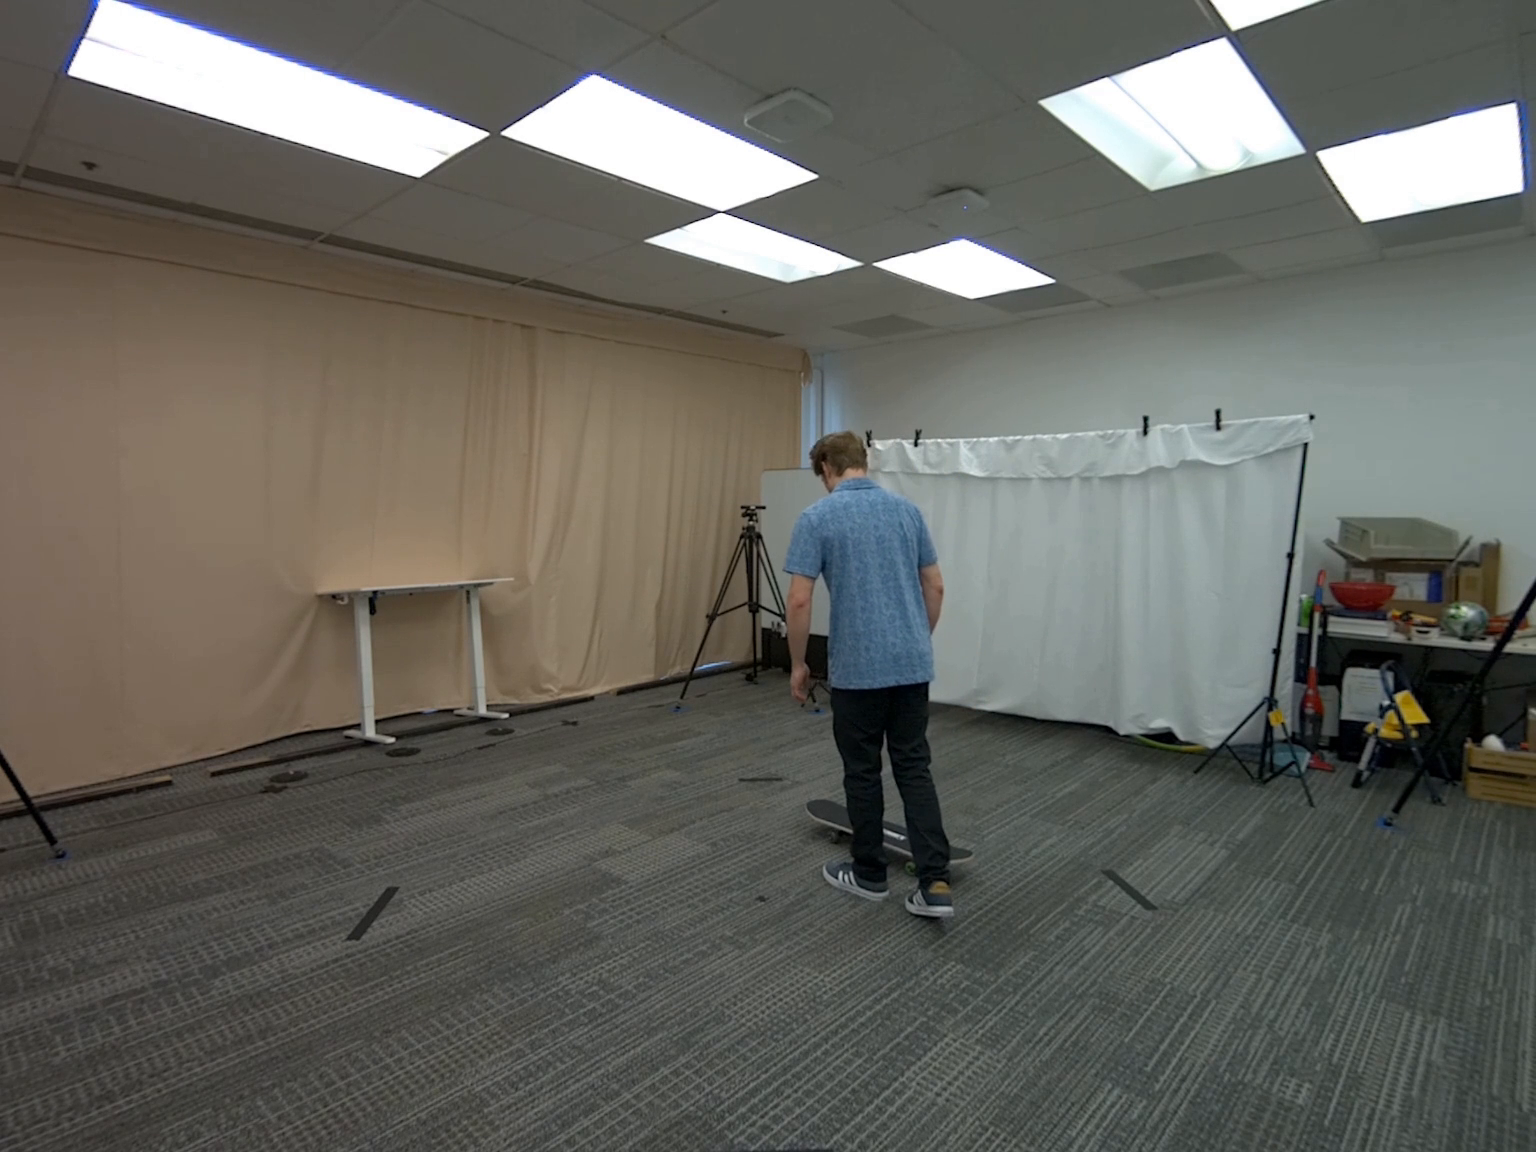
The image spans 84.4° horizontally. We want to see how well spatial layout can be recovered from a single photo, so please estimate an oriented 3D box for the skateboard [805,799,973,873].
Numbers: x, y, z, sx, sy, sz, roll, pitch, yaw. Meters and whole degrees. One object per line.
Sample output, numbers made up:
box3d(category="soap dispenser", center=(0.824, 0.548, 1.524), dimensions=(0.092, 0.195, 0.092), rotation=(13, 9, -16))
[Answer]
box3d(category="skateboard", center=(0.472, 1.052, 3.372), dimensions=(0.187, 0.110, 0.812), rotation=(-3, 6, -42))
